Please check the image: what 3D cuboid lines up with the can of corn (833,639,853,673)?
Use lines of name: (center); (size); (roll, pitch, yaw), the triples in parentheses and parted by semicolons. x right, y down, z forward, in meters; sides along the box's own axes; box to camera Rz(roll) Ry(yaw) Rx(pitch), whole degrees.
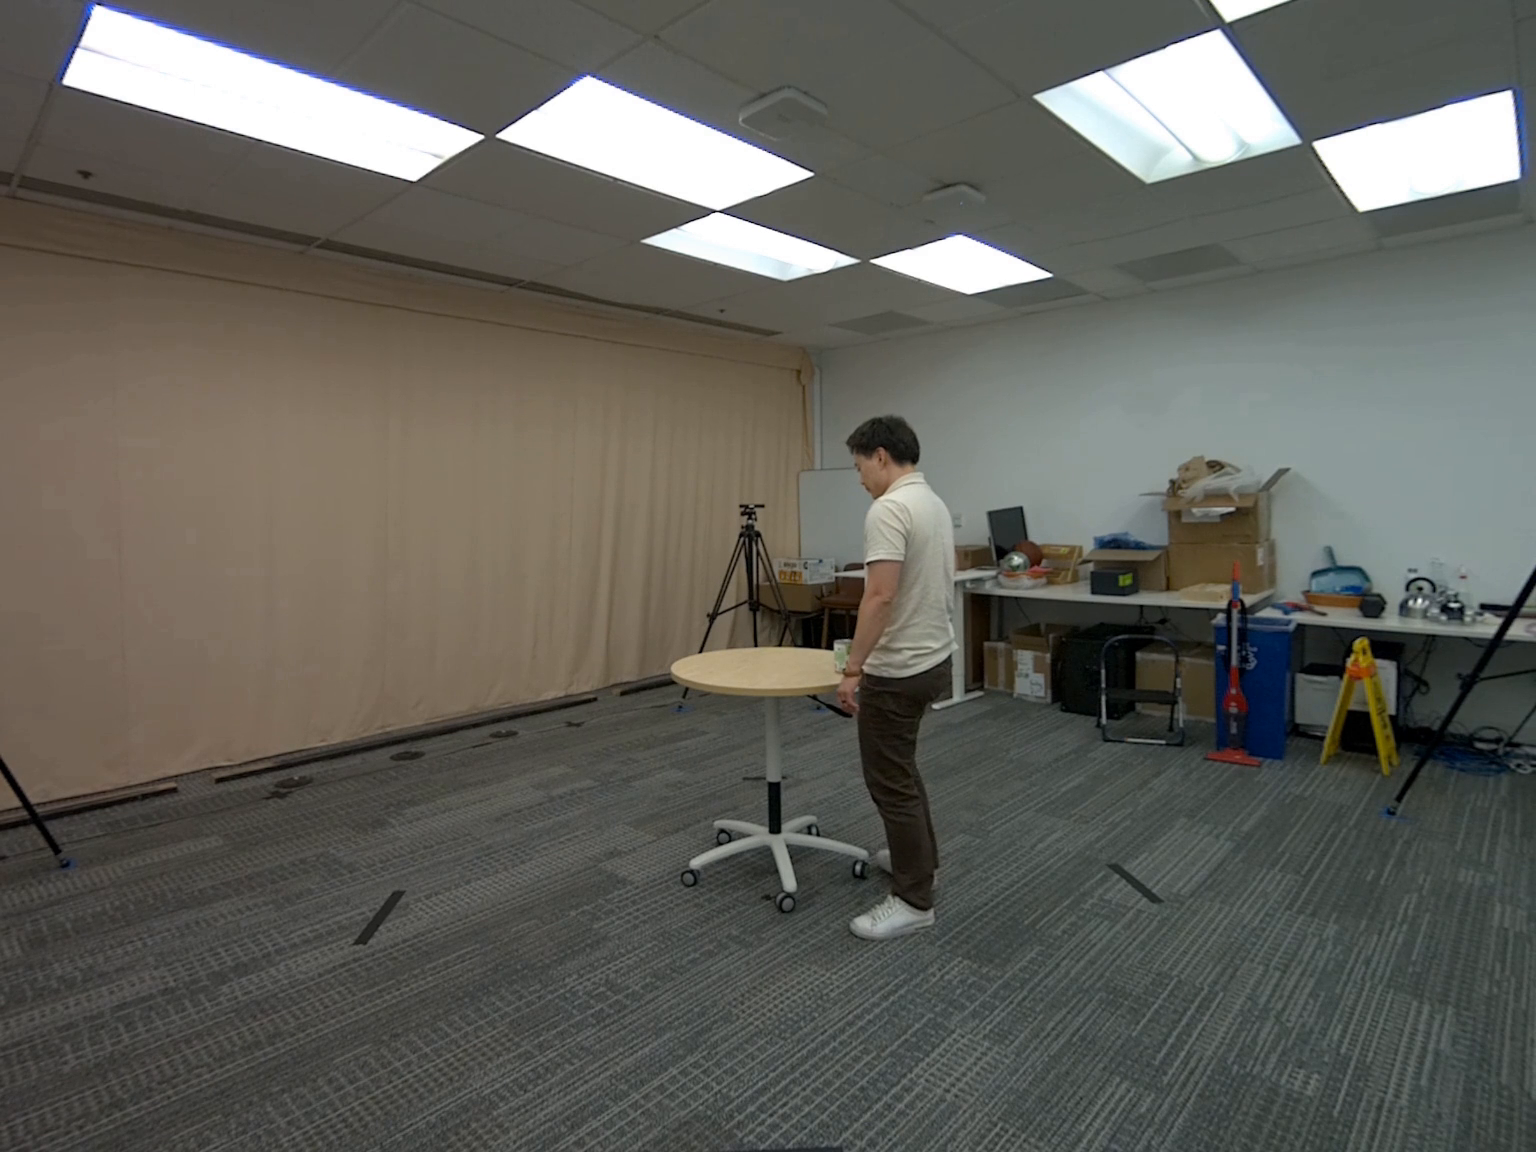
can of corn: (0.285, 0.293, 3.043); (0.074, 0.111, 0.074); (2, 4, -2)
